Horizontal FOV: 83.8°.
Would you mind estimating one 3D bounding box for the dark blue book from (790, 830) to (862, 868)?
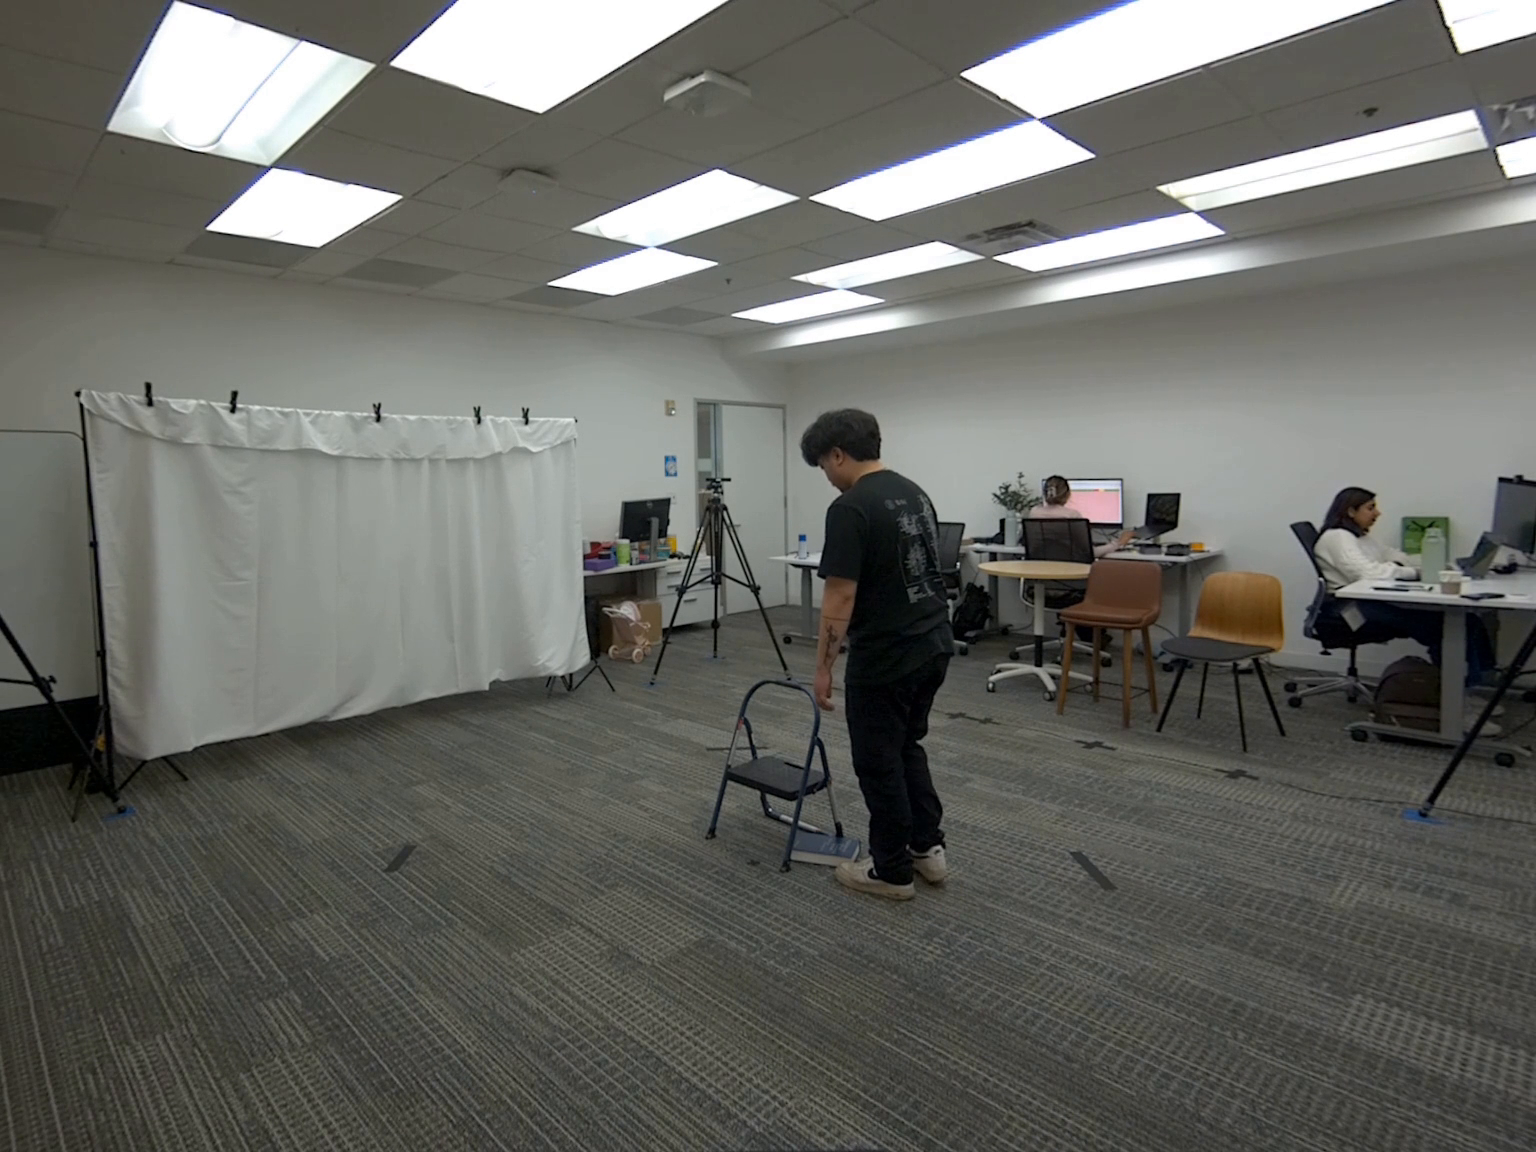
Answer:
[{"bbox_3d":[0.211,1.014,3.158,0.250,0.045,0.161,1,7,19],"label":"dark blue book"}]
